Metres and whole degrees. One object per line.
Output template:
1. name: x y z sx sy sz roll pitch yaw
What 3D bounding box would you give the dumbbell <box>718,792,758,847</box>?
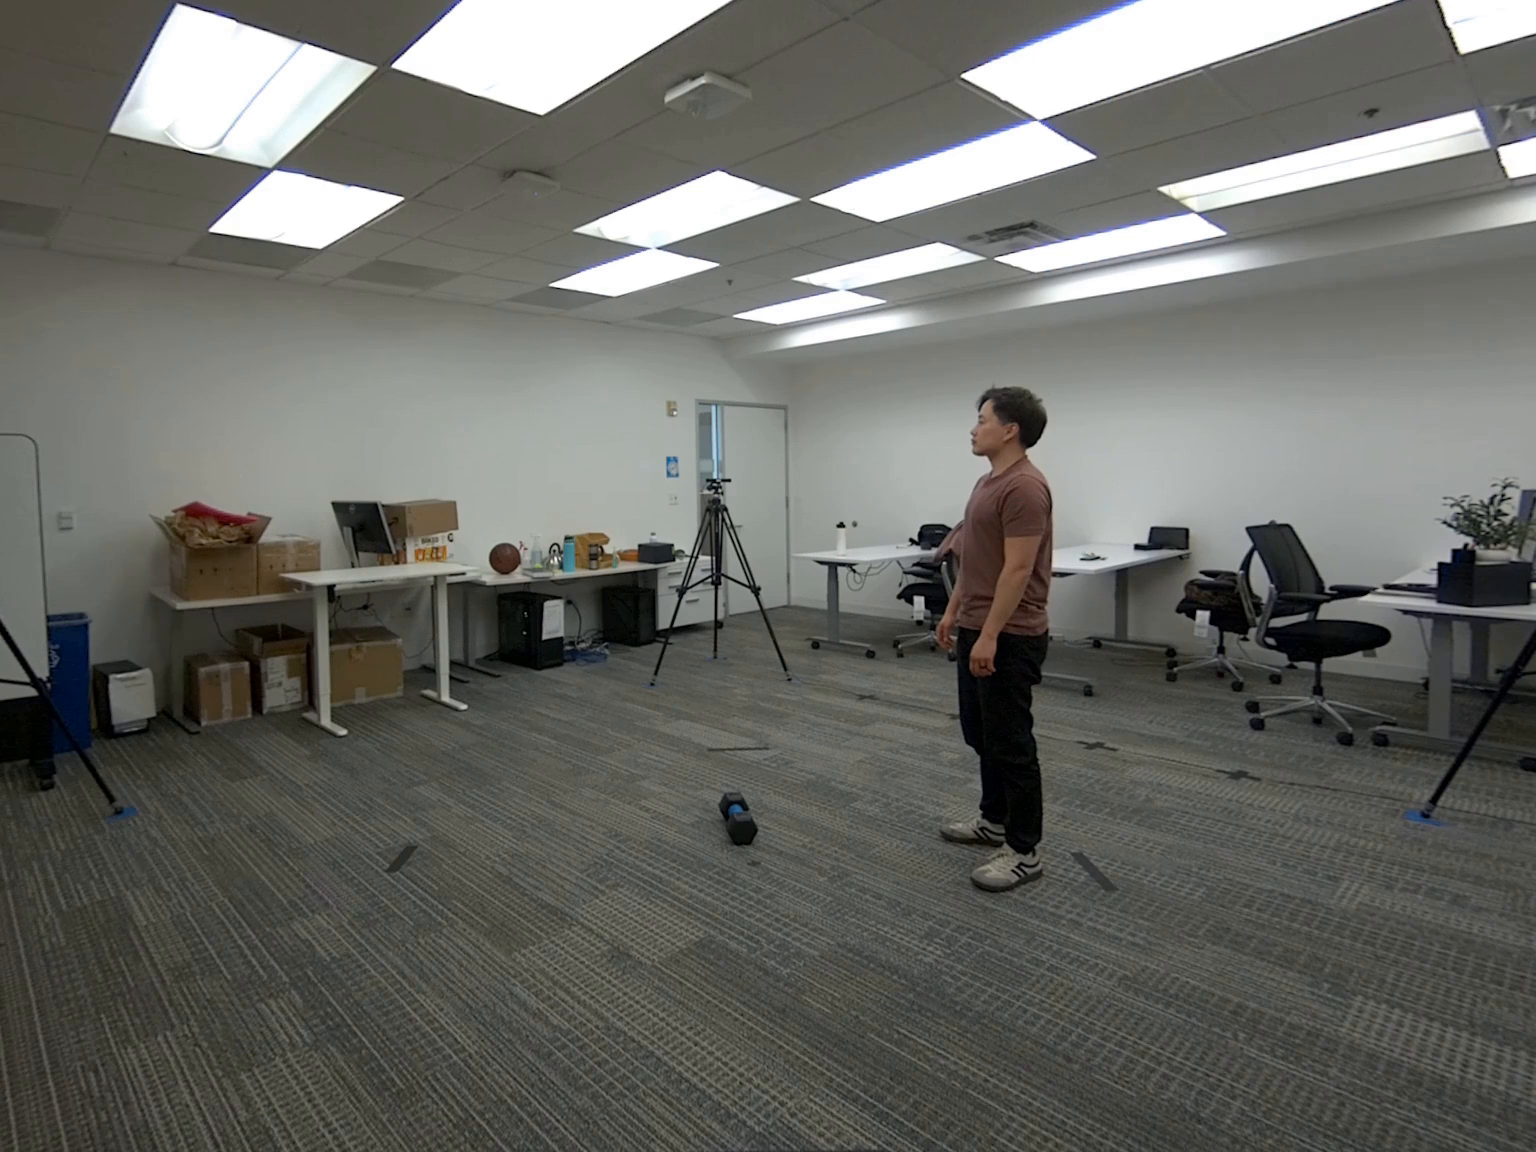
1. dumbbell: -0.118 0.960 3.397 0.107 0.123 0.297 28 0 -11
